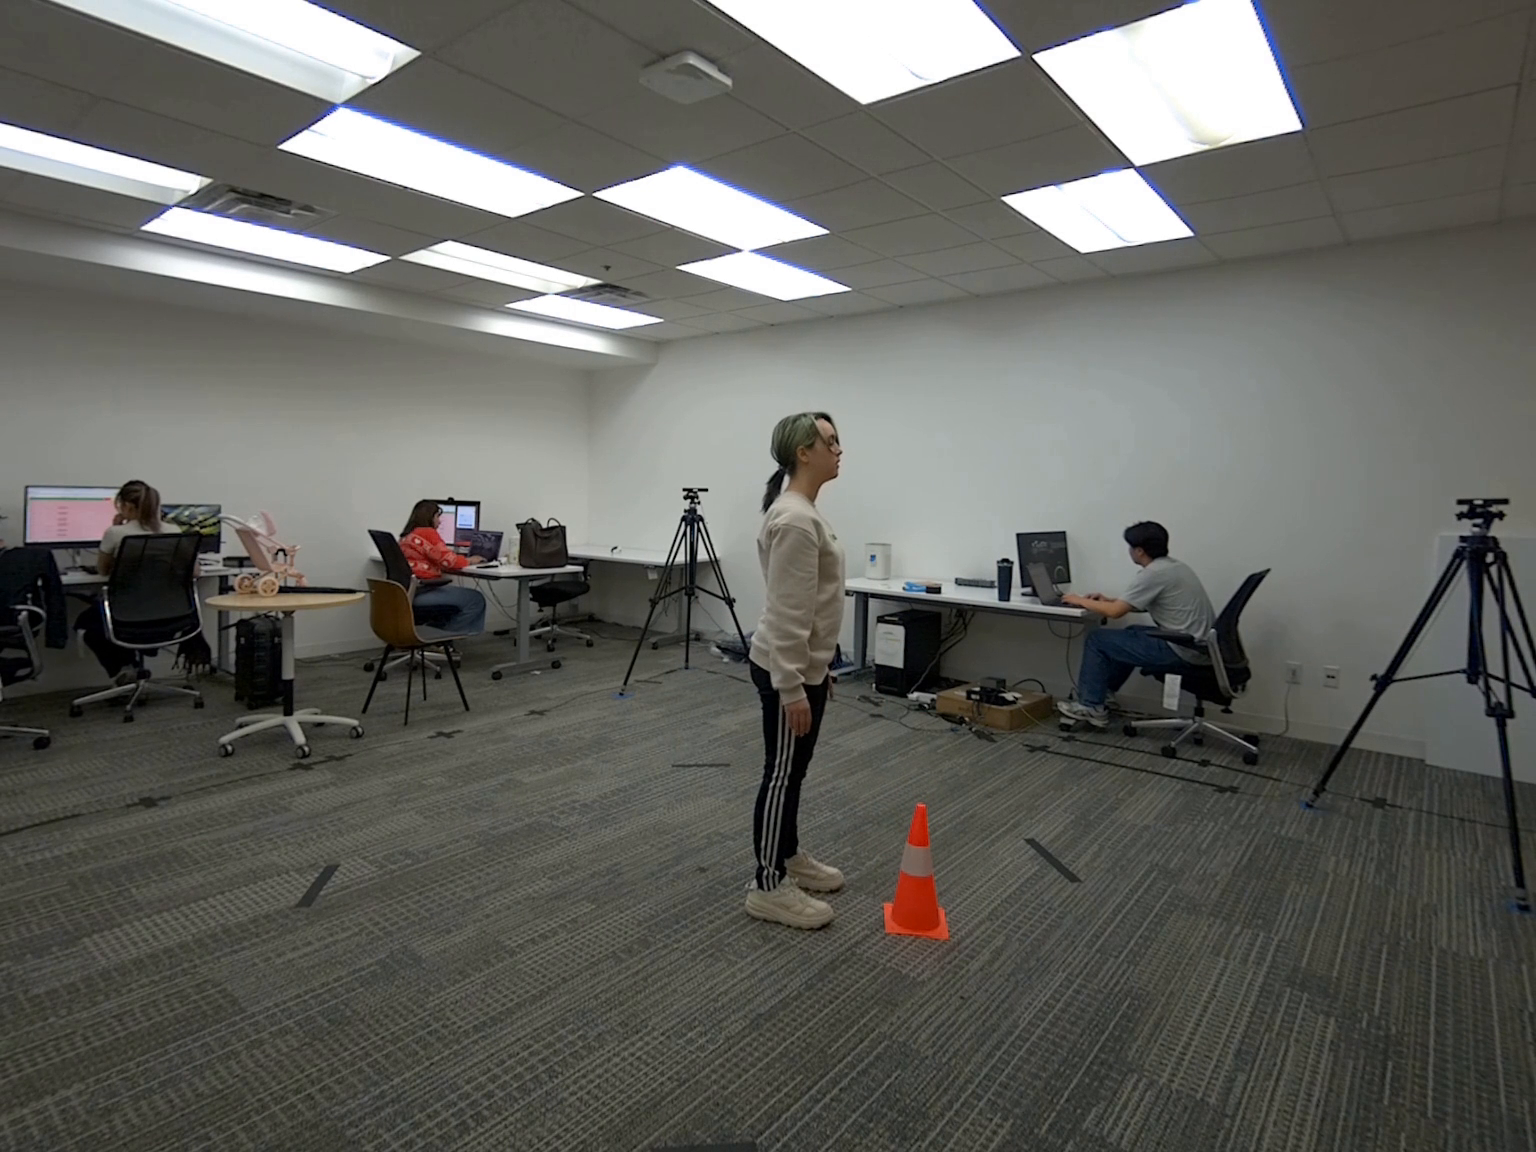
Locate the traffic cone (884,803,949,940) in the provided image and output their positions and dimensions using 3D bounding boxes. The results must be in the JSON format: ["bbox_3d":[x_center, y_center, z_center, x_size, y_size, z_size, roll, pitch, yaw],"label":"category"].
[{"bbox_3d":[0.477,0.933,2.770,0.205,0.383,0.203,1,1,1],"label":"traffic cone"}]
